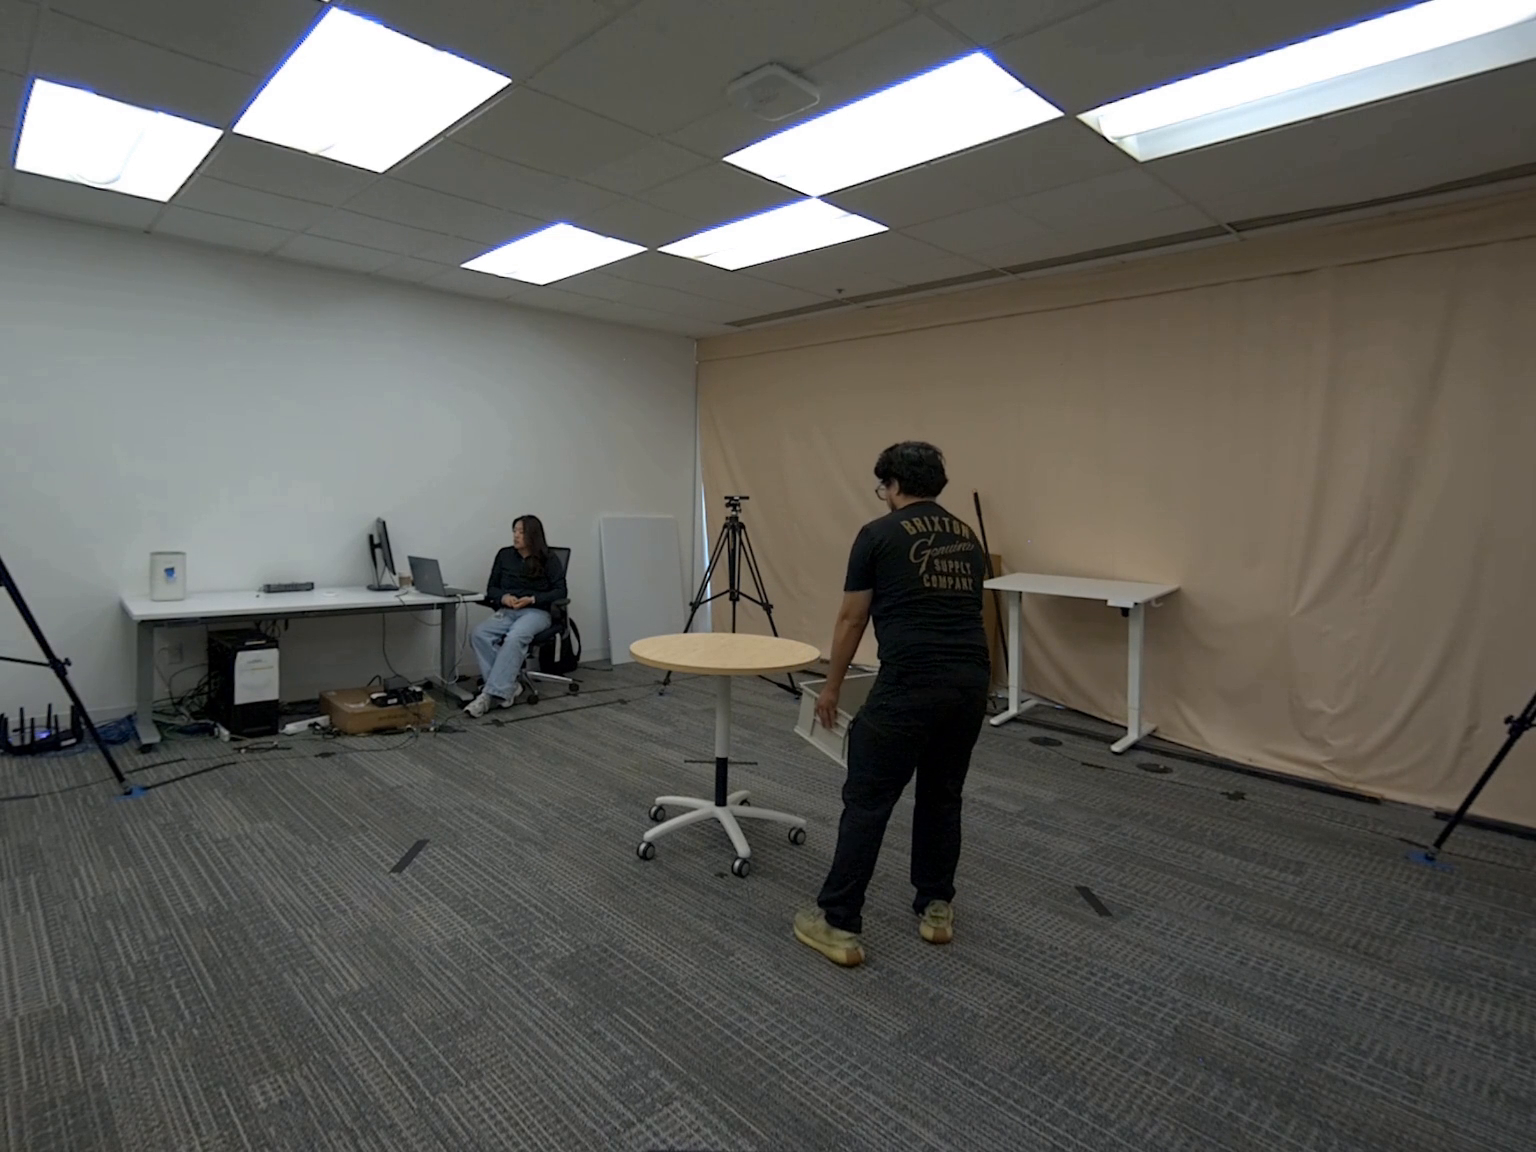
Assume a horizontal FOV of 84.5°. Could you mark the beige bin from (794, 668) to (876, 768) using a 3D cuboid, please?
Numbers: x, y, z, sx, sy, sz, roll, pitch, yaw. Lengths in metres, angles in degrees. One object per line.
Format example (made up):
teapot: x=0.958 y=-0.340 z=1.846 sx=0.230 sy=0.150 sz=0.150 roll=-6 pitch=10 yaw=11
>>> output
beige bin: x=0.361 y=0.523 z=2.973 sx=0.413 sy=0.187 sz=0.389 roll=-2 pitch=18 yaw=-36
